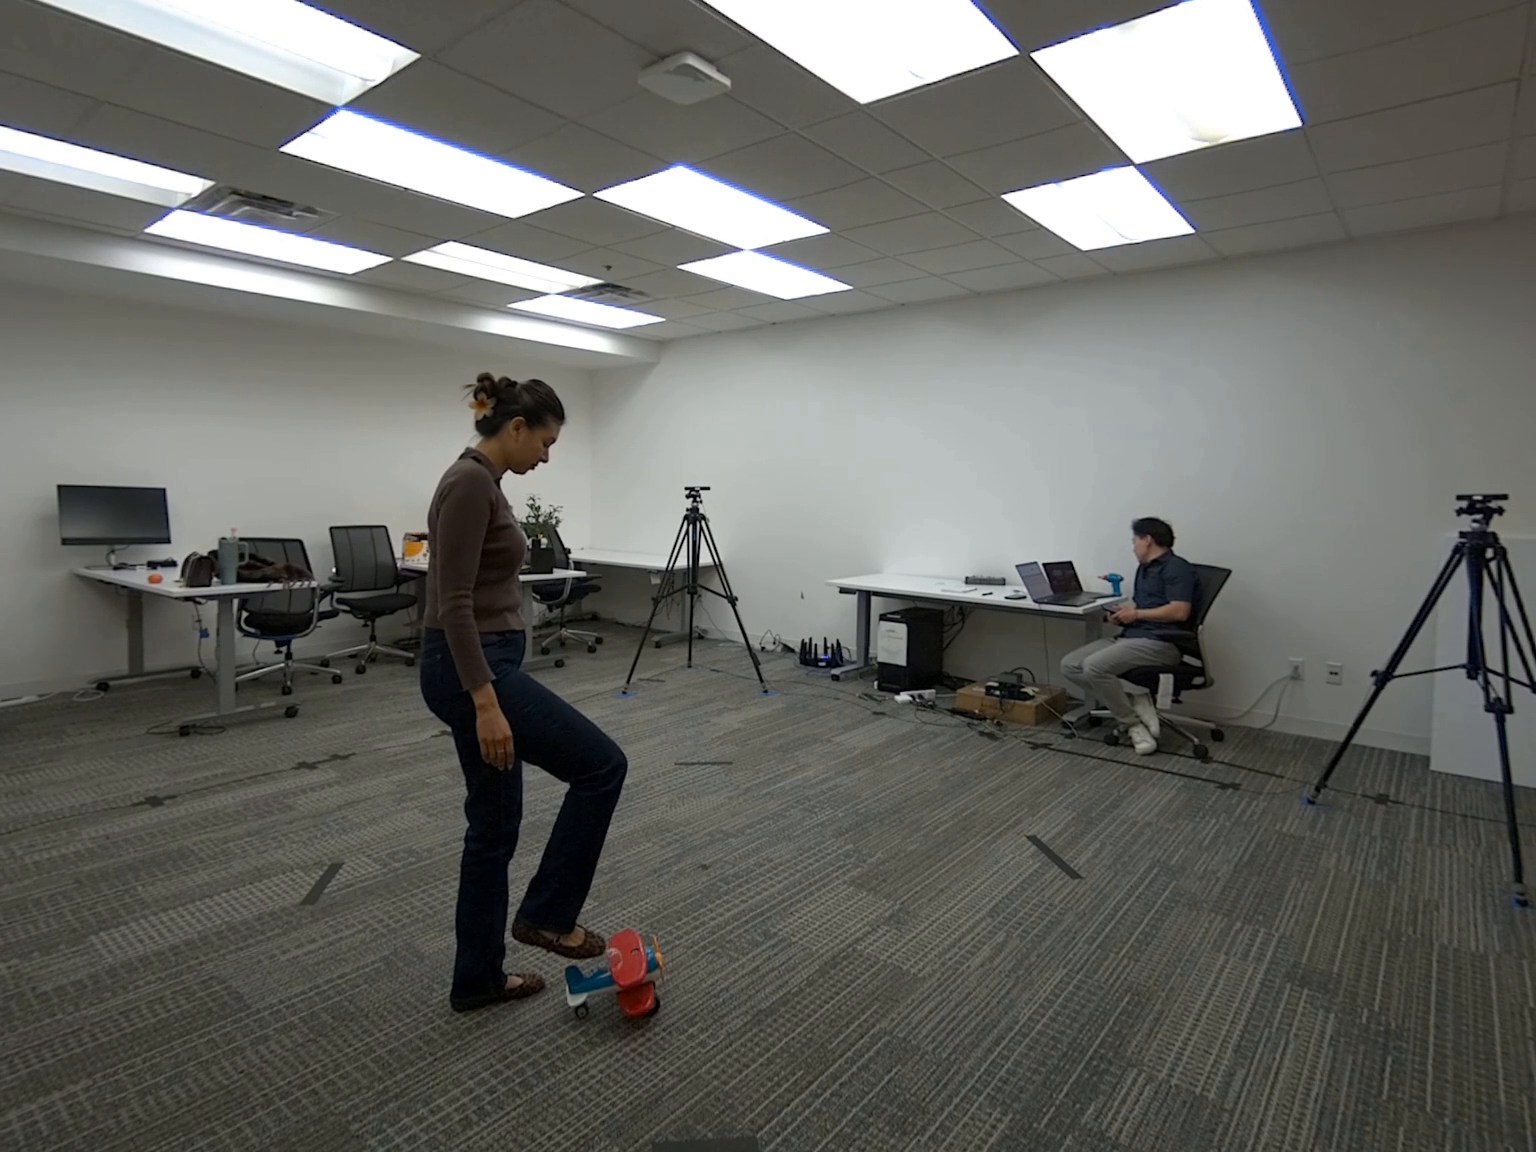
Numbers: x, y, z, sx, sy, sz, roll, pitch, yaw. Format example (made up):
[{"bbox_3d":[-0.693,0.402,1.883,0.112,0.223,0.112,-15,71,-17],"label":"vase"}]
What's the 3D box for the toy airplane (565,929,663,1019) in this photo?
[{"bbox_3d":[-0.403,1.080,2.243,0.252,0.156,0.260,-6,8,-43],"label":"toy airplane"}]
